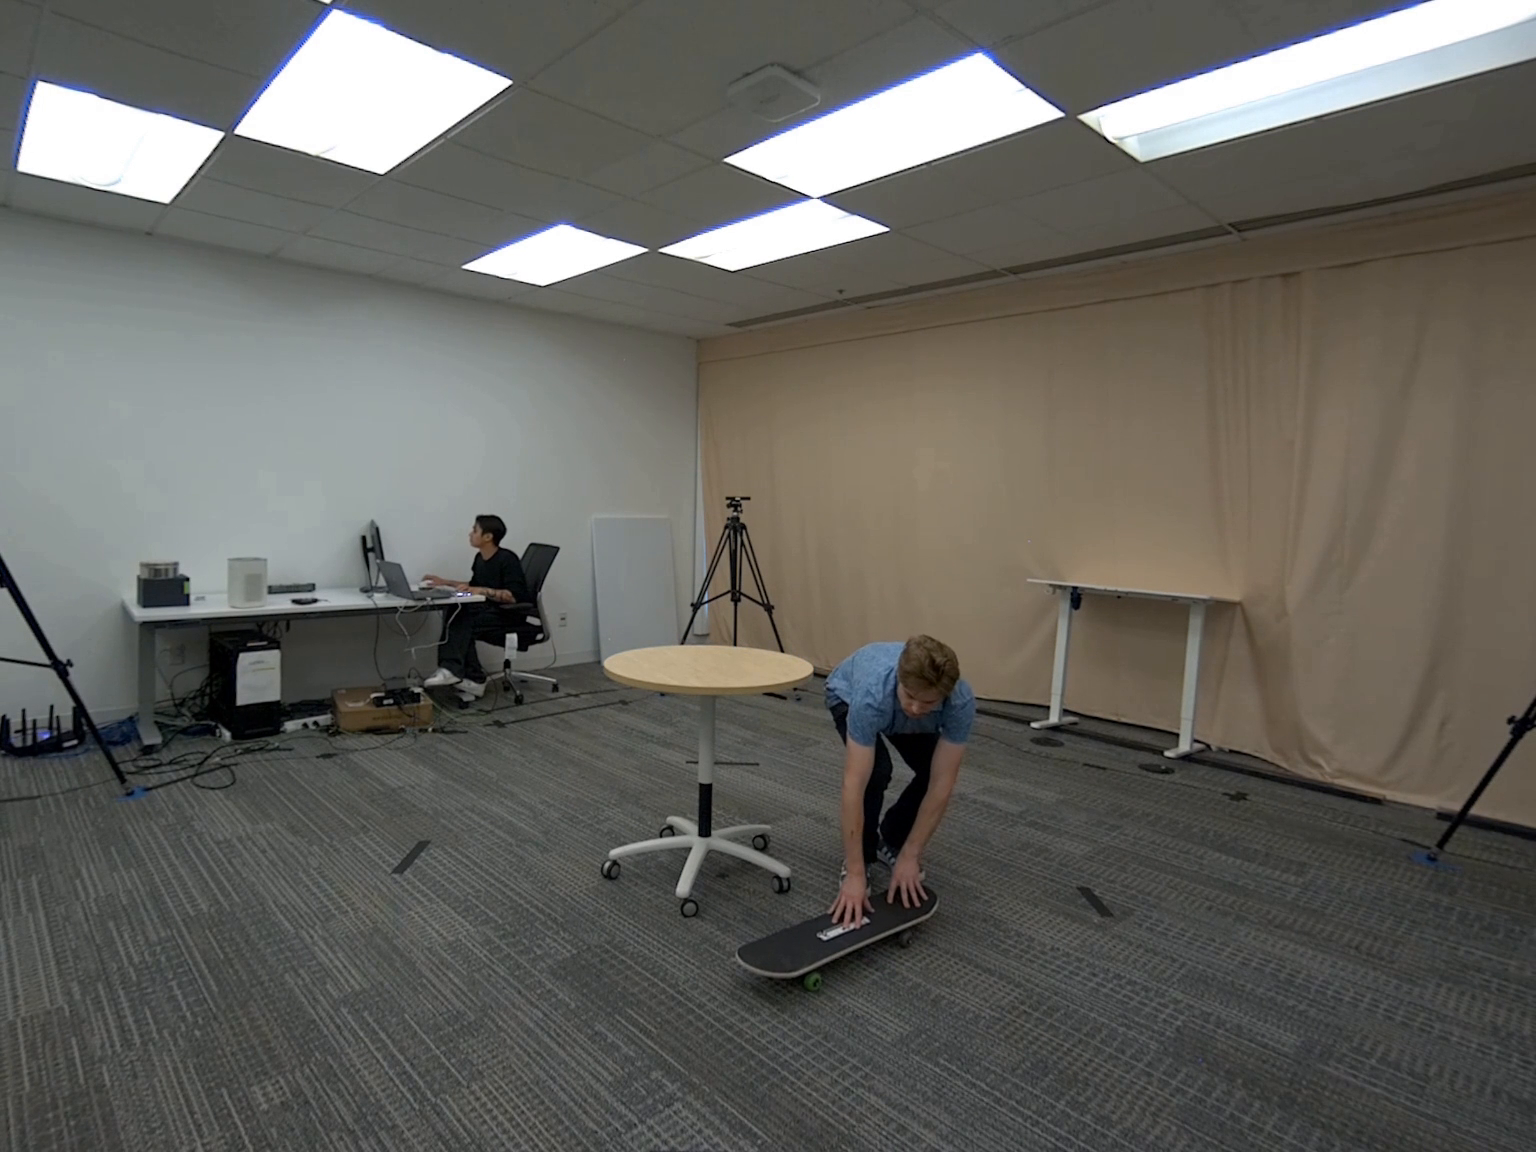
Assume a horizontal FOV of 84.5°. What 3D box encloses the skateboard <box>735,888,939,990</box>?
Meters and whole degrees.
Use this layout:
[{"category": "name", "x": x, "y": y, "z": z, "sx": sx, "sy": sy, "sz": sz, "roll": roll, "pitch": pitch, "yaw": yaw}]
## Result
[{"category": "skateboard", "x": 0.234, "y": 1.109, "z": 2.576, "sx": 0.768, "sy": 0.110, "sz": 0.198, "roll": -2, "pitch": 6, "yaw": -38}]
